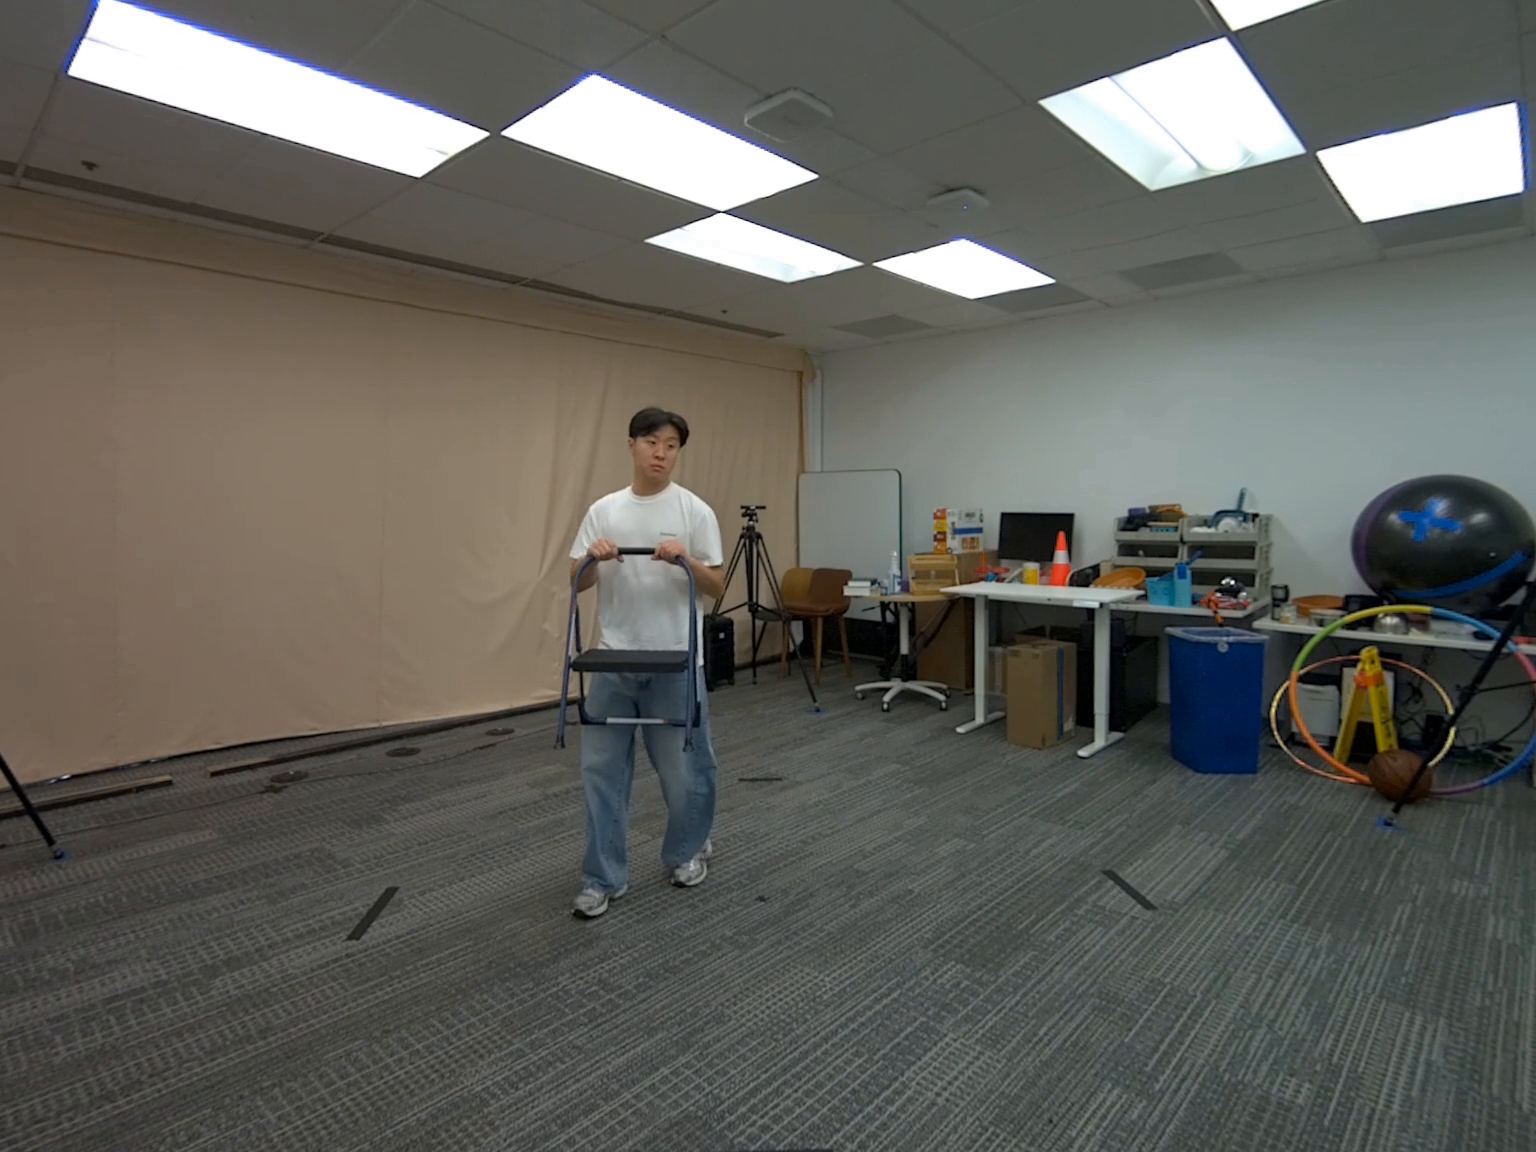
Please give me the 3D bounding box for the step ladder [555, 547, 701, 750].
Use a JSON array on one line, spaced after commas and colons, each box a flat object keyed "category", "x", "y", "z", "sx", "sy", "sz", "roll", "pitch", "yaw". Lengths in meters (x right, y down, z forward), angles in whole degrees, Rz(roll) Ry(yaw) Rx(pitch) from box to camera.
[{"category": "step ladder", "x": -0.424, "y": 0.213, "z": 2.709, "sx": 0.432, "sy": 0.606, "sz": 0.348, "roll": 1, "pitch": 0, "yaw": 2}]
